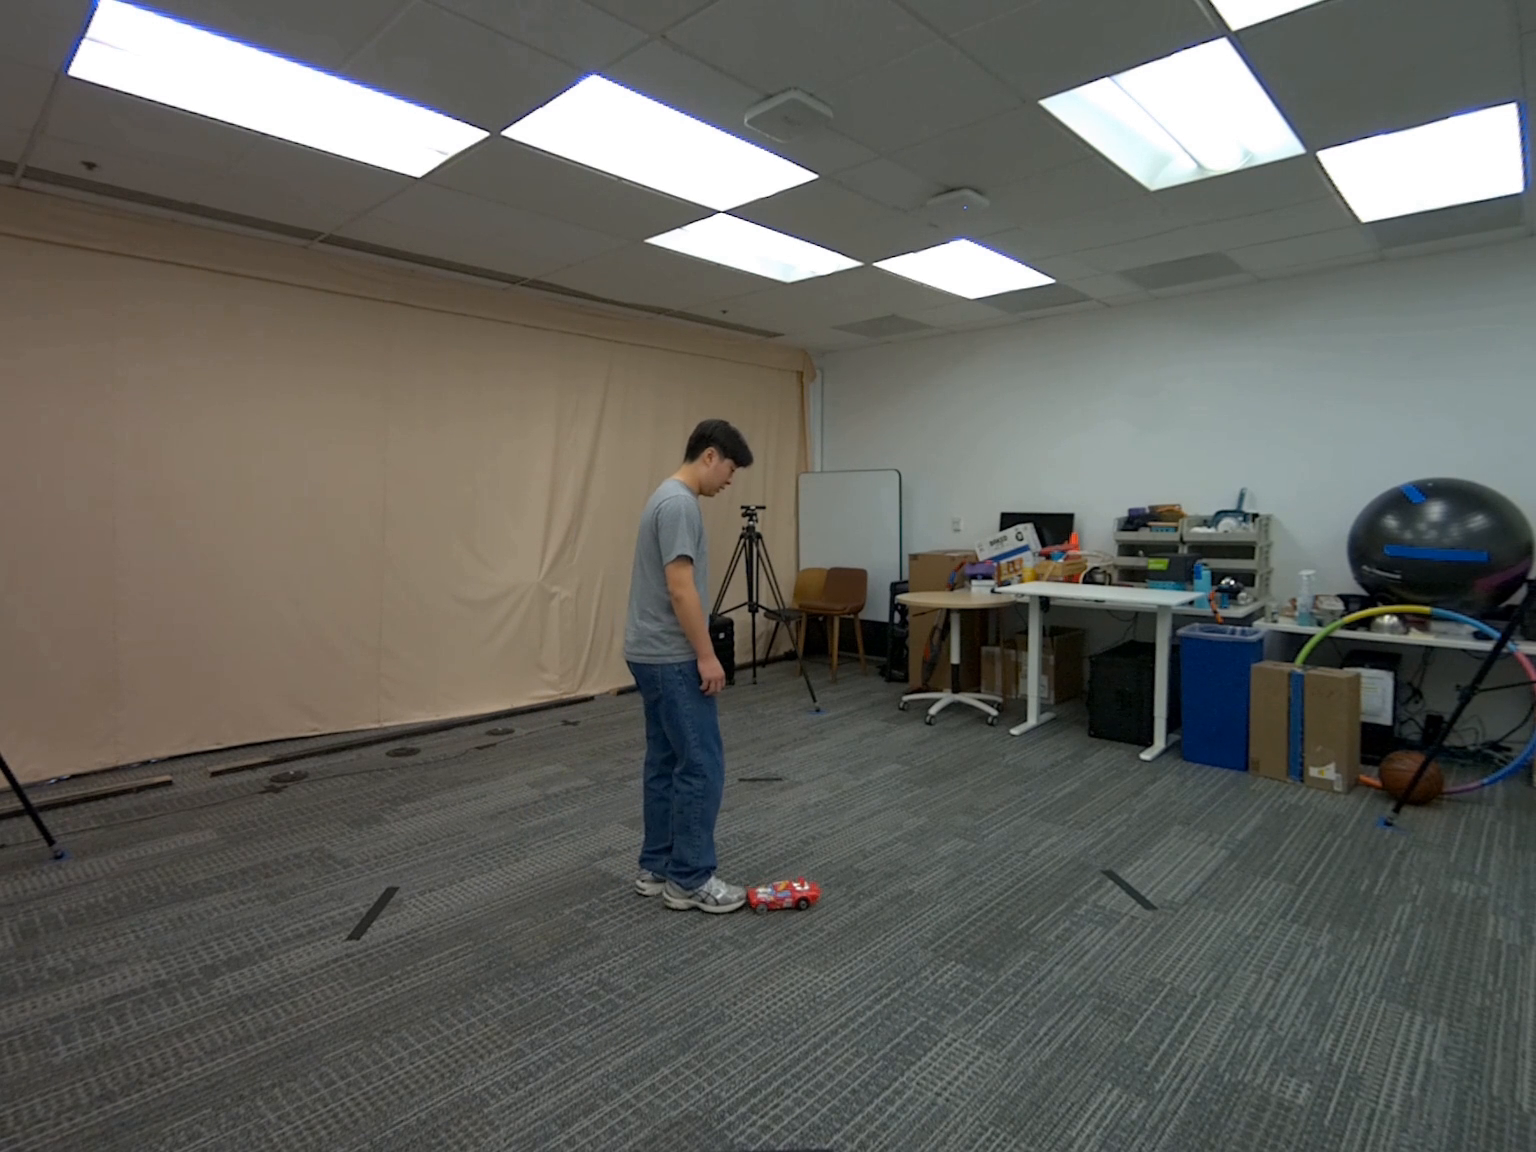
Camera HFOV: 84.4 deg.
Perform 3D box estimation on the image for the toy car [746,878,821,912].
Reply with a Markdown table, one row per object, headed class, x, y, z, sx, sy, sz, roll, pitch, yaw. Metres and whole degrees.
| class | x | y | z | sx | sy | sz | roll | pitch | yaw |
| --- | --- | --- | --- | --- | --- | --- | --- | --- | --- |
| toy car | 0.061 | 1.117 | 2.927 | 0.253 | 0.083 | 0.132 | -11 | 7 | -8 |
